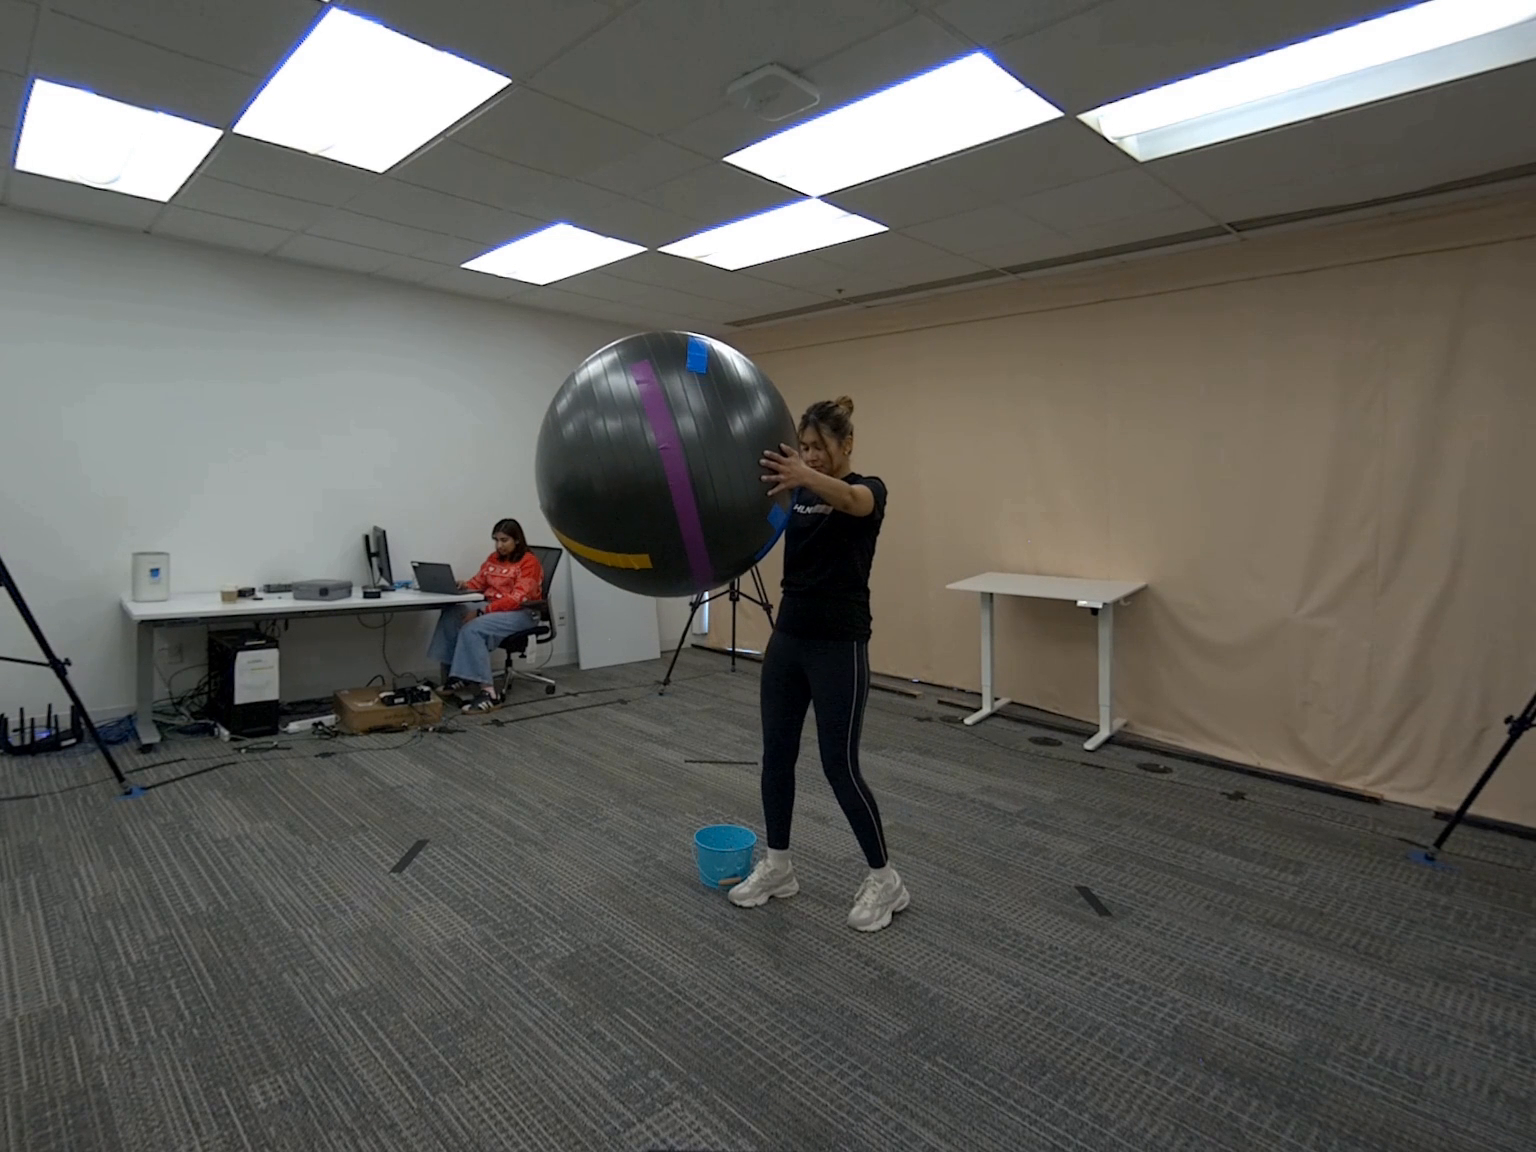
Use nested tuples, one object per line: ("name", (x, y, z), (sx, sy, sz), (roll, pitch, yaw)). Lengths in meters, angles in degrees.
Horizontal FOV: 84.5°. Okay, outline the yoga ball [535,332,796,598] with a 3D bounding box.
("yoga ball", (-0.282, -0.308, 2.428), (0.757, 0.756, 0.761), (1, 4, -1))
